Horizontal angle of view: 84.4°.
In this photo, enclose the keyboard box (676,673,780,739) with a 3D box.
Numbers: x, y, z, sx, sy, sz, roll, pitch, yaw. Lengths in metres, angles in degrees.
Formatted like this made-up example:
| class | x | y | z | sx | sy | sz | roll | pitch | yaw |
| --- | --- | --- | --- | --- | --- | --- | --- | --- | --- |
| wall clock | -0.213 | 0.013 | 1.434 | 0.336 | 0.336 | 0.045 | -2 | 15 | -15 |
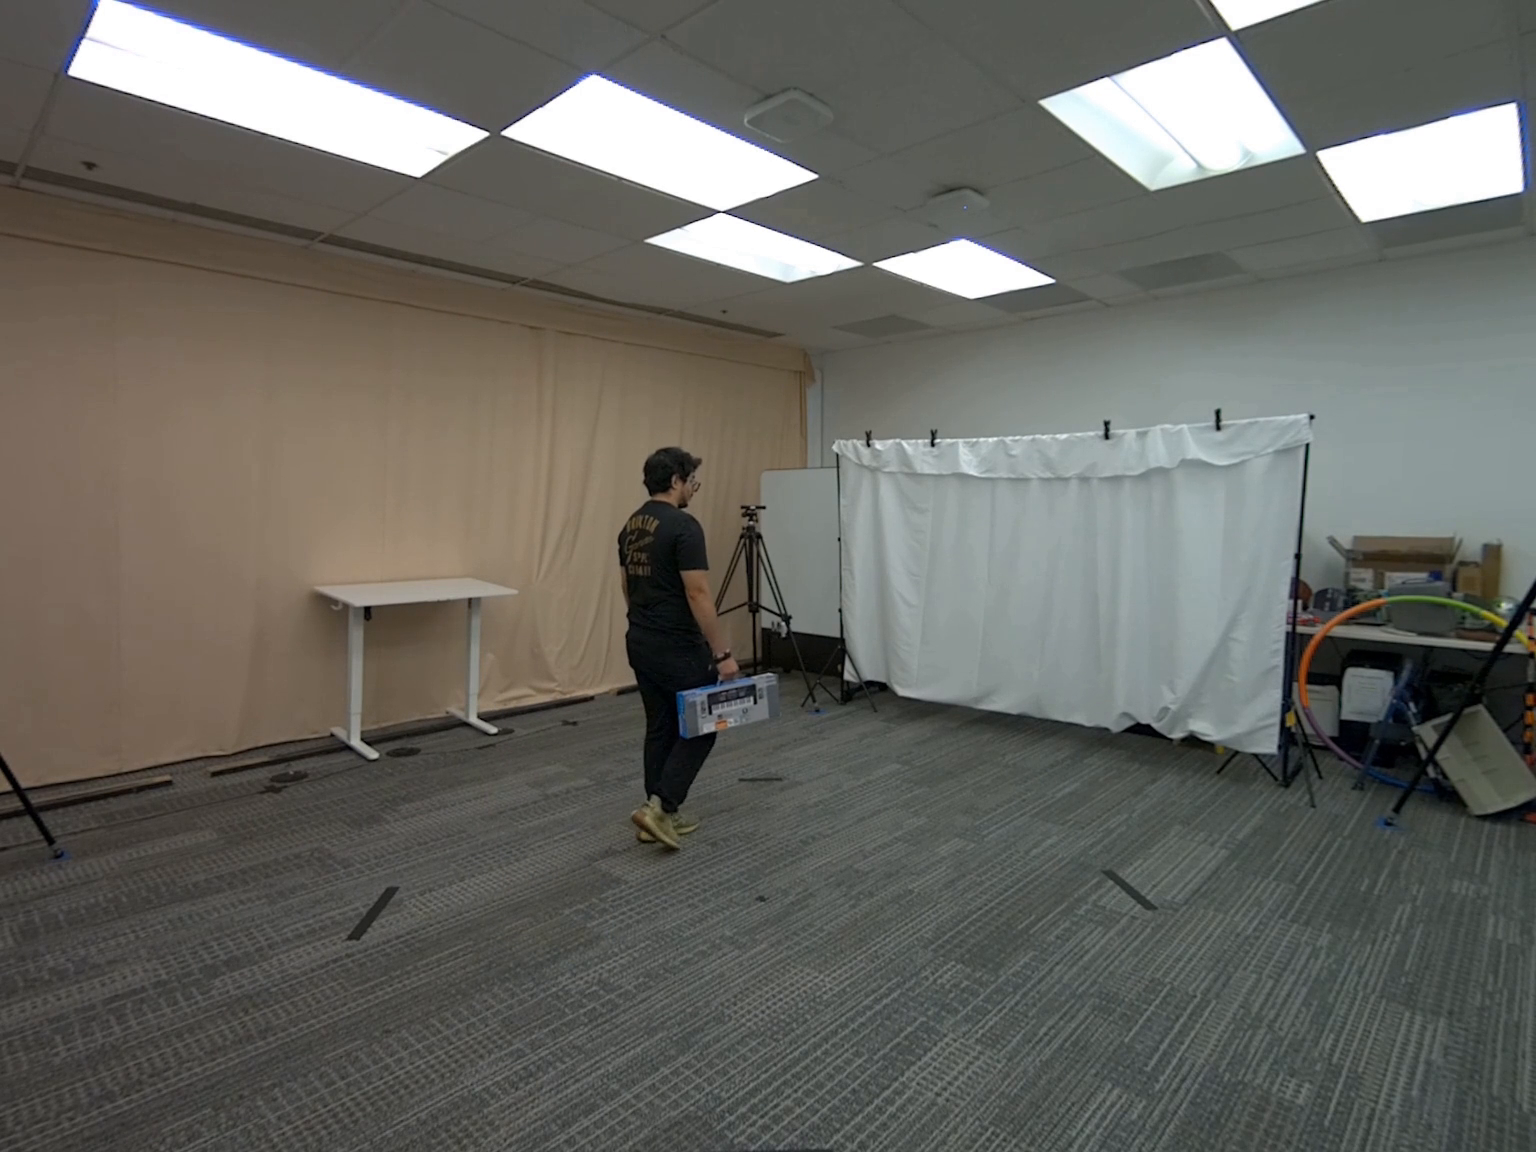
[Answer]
| class | x | y | z | sx | sy | sz | roll | pitch | yaw |
| --- | --- | --- | --- | --- | --- | --- | --- | --- | --- |
| keyboard box | -0.156 | 0.513 | 3.354 | 0.426 | 0.175 | 0.061 | -7 | 6 | -30 |
